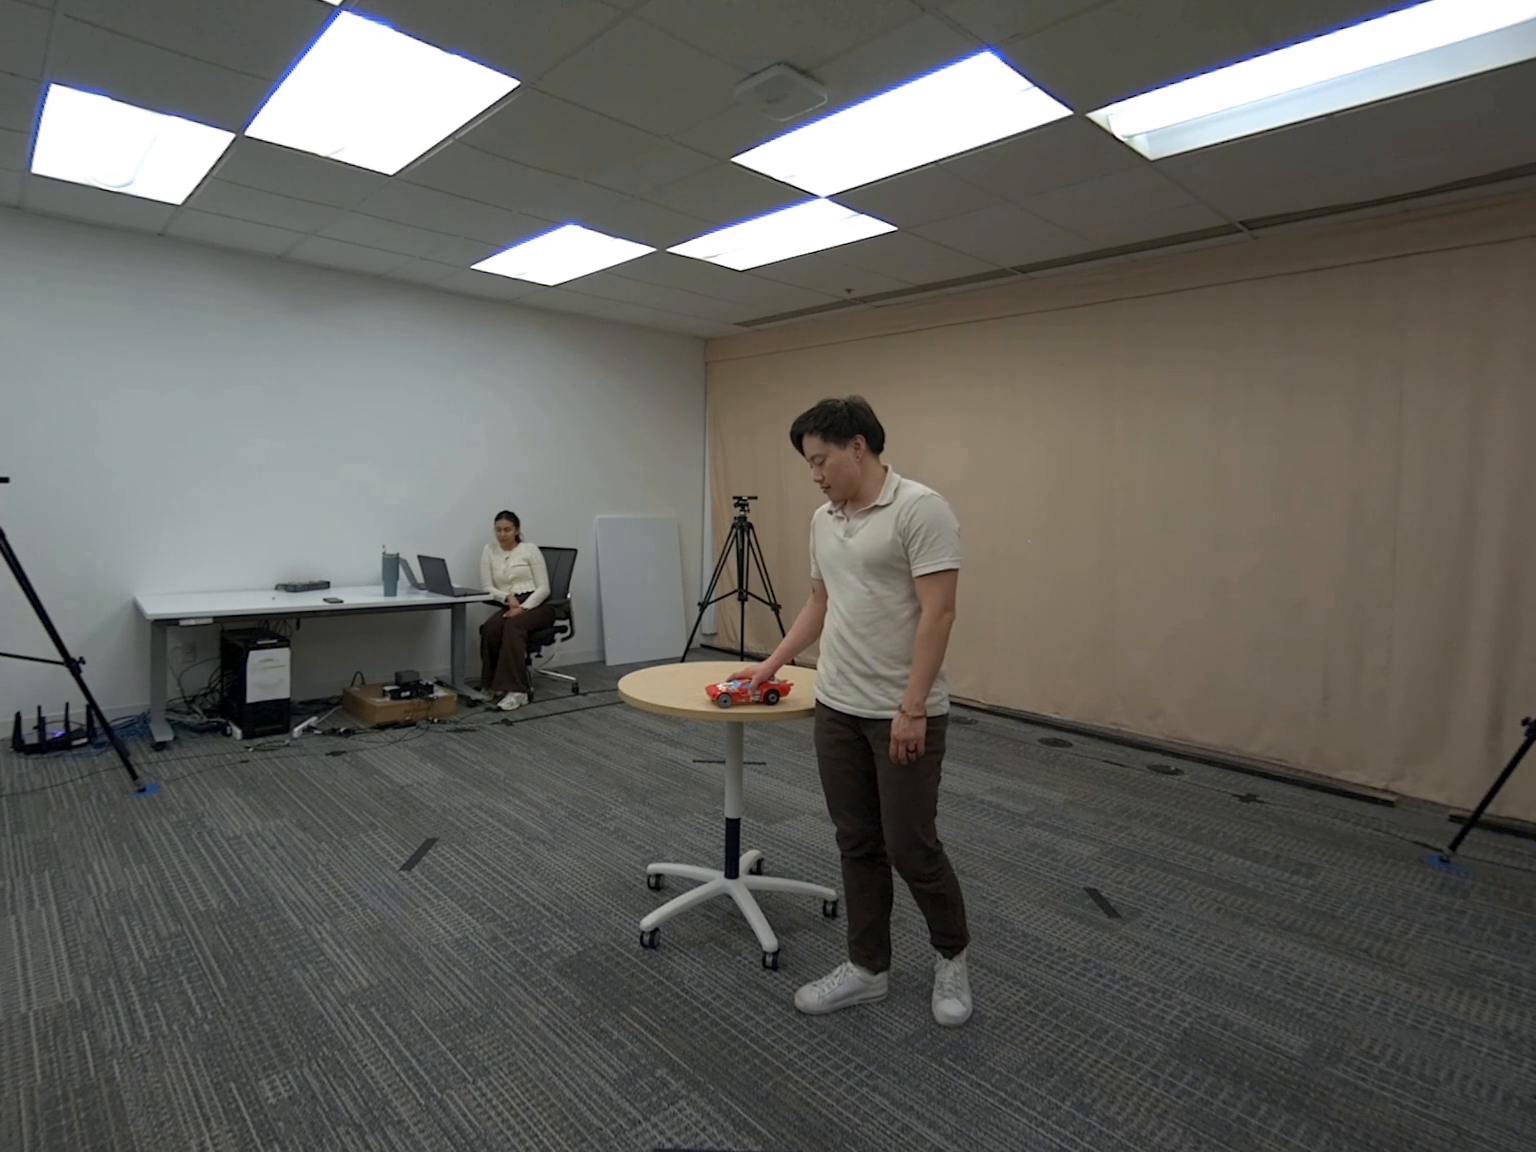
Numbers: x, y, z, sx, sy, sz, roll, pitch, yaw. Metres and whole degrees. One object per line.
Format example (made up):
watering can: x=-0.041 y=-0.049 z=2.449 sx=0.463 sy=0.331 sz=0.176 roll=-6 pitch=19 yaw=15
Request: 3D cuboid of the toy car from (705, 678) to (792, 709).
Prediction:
toy car: x=-0.057 y=0.345 z=2.479 sx=0.252 sy=0.083 sz=0.132 roll=-12 pitch=9 yaw=-16
